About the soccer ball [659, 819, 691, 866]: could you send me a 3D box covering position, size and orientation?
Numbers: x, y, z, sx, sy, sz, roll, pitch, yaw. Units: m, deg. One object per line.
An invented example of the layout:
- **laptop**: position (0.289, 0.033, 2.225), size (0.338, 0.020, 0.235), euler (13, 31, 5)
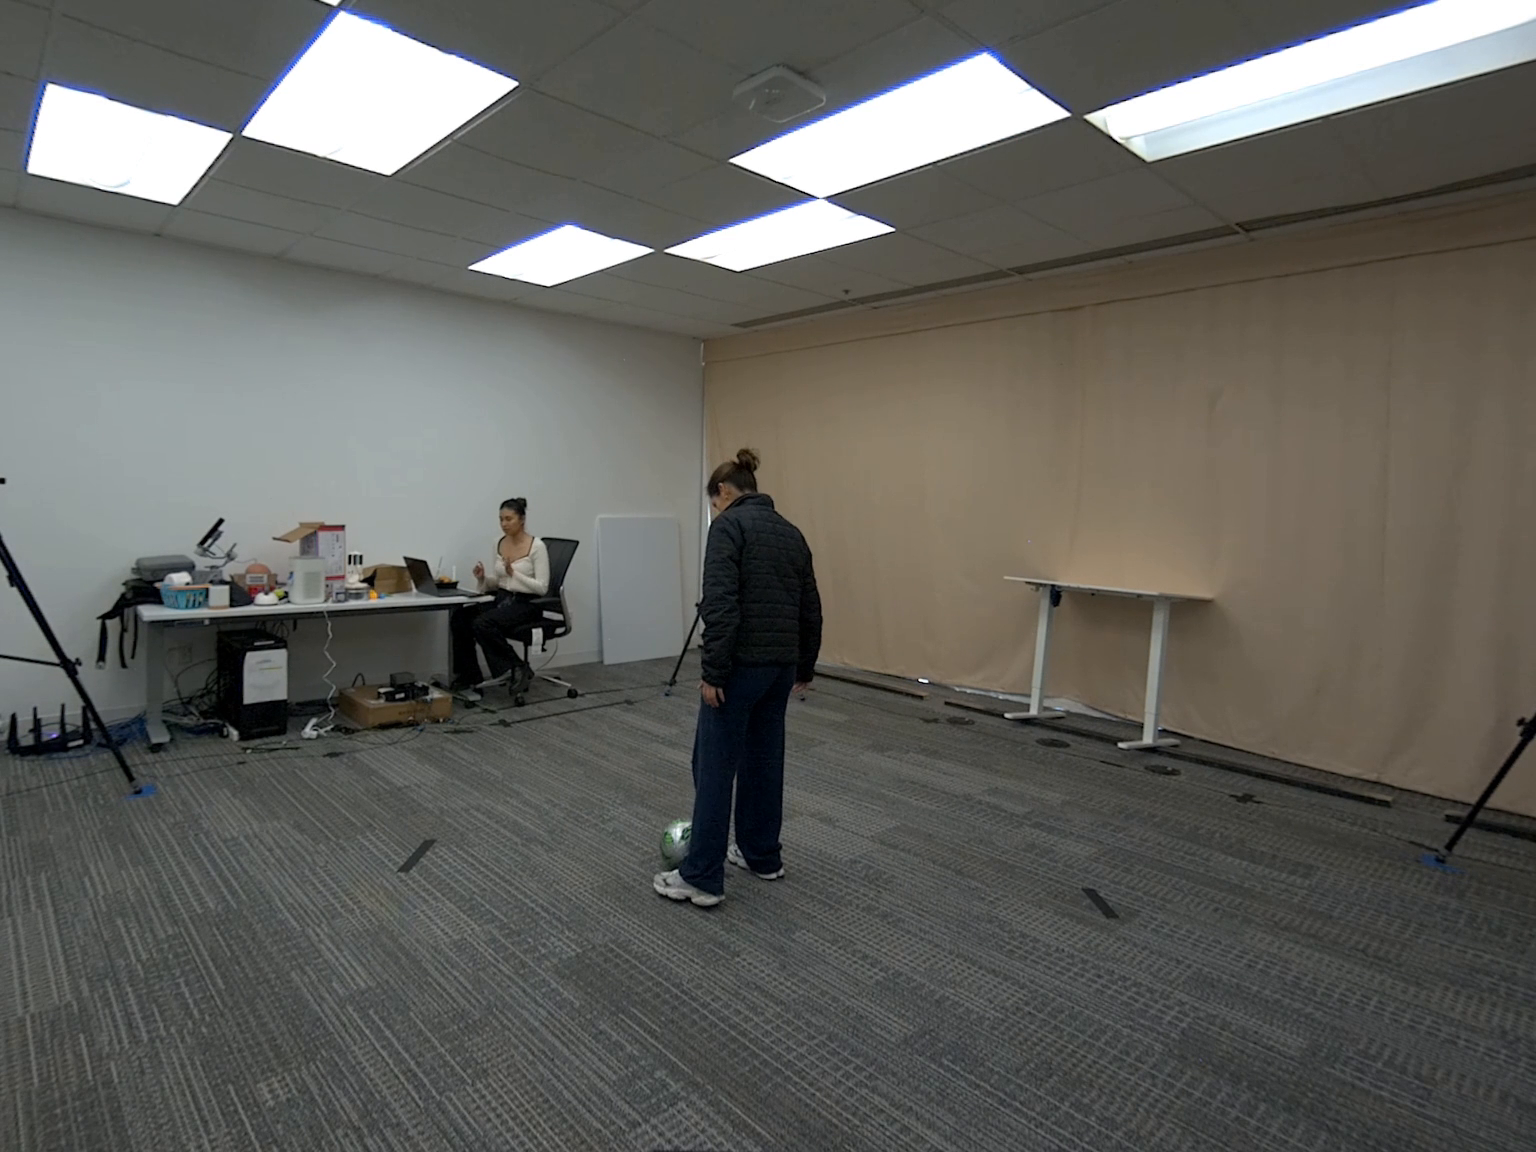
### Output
- **soccer ball**: position (-0.312, 1.003, 3.146), size (0.187, 0.187, 0.188), euler (1, 4, -1)
